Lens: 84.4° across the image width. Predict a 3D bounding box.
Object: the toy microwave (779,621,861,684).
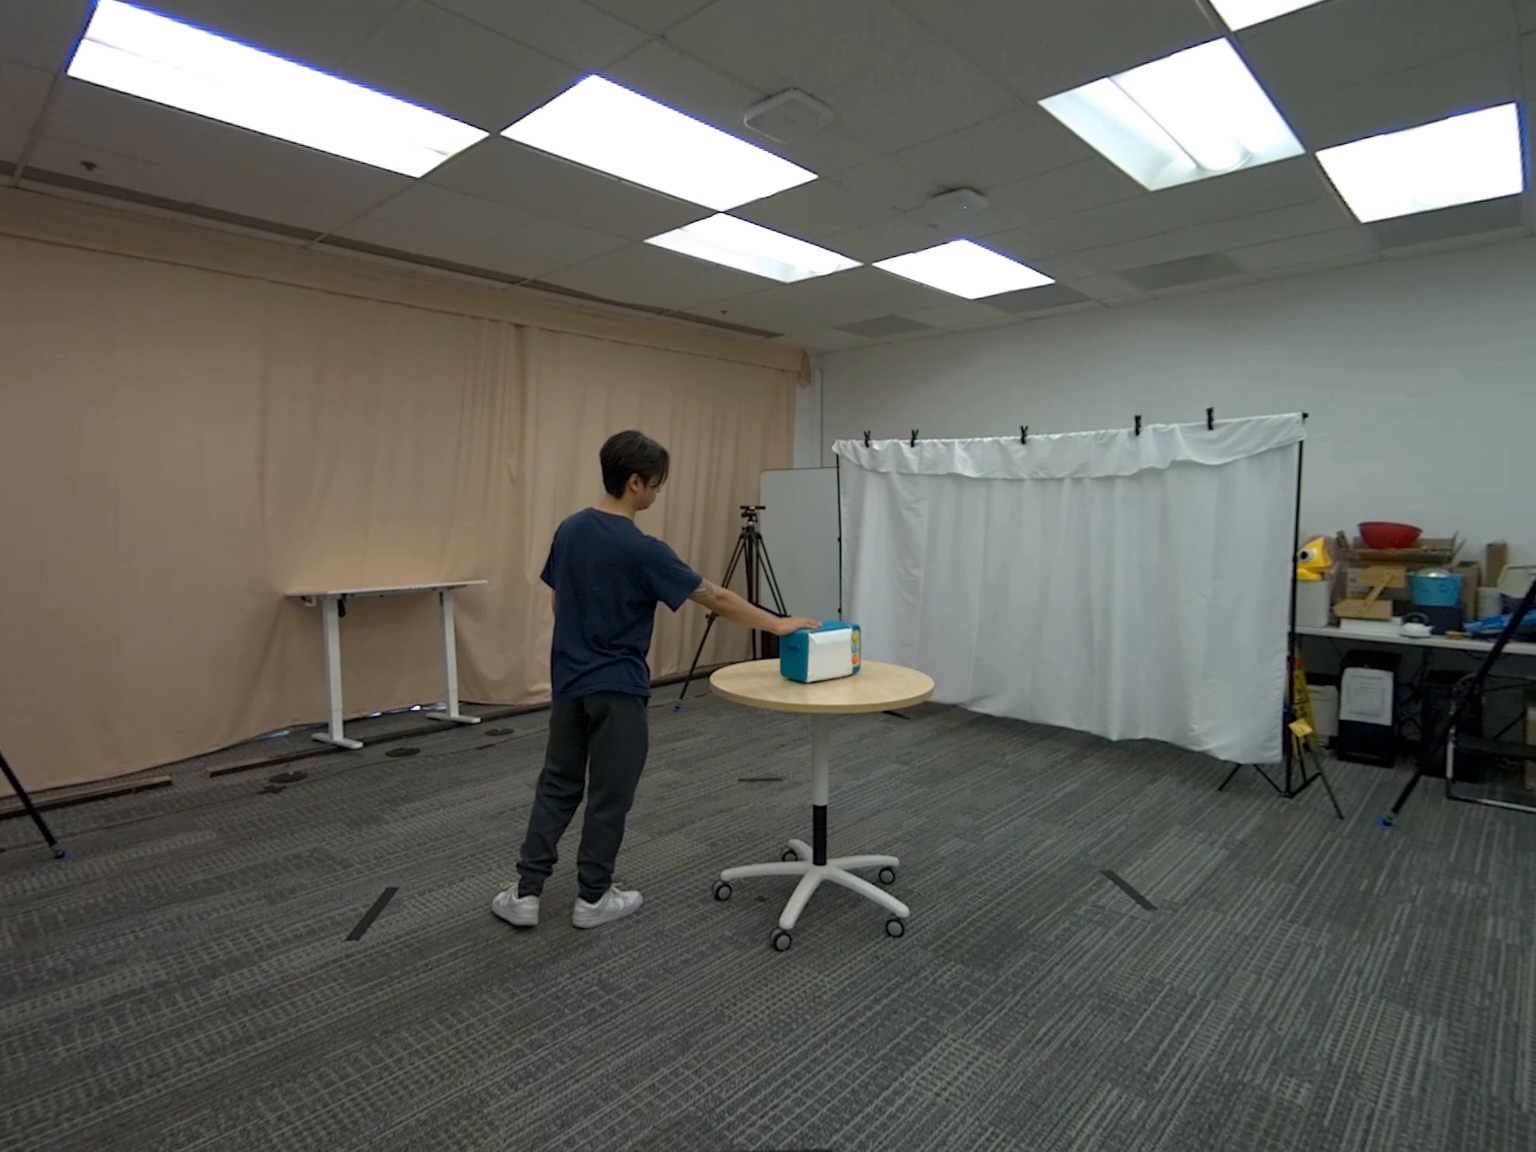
[{"bbox_3d":[0.197,0.263,2.917,0.278,0.183,0.157,-4,6,-38],"label":"toy microwave"}]
